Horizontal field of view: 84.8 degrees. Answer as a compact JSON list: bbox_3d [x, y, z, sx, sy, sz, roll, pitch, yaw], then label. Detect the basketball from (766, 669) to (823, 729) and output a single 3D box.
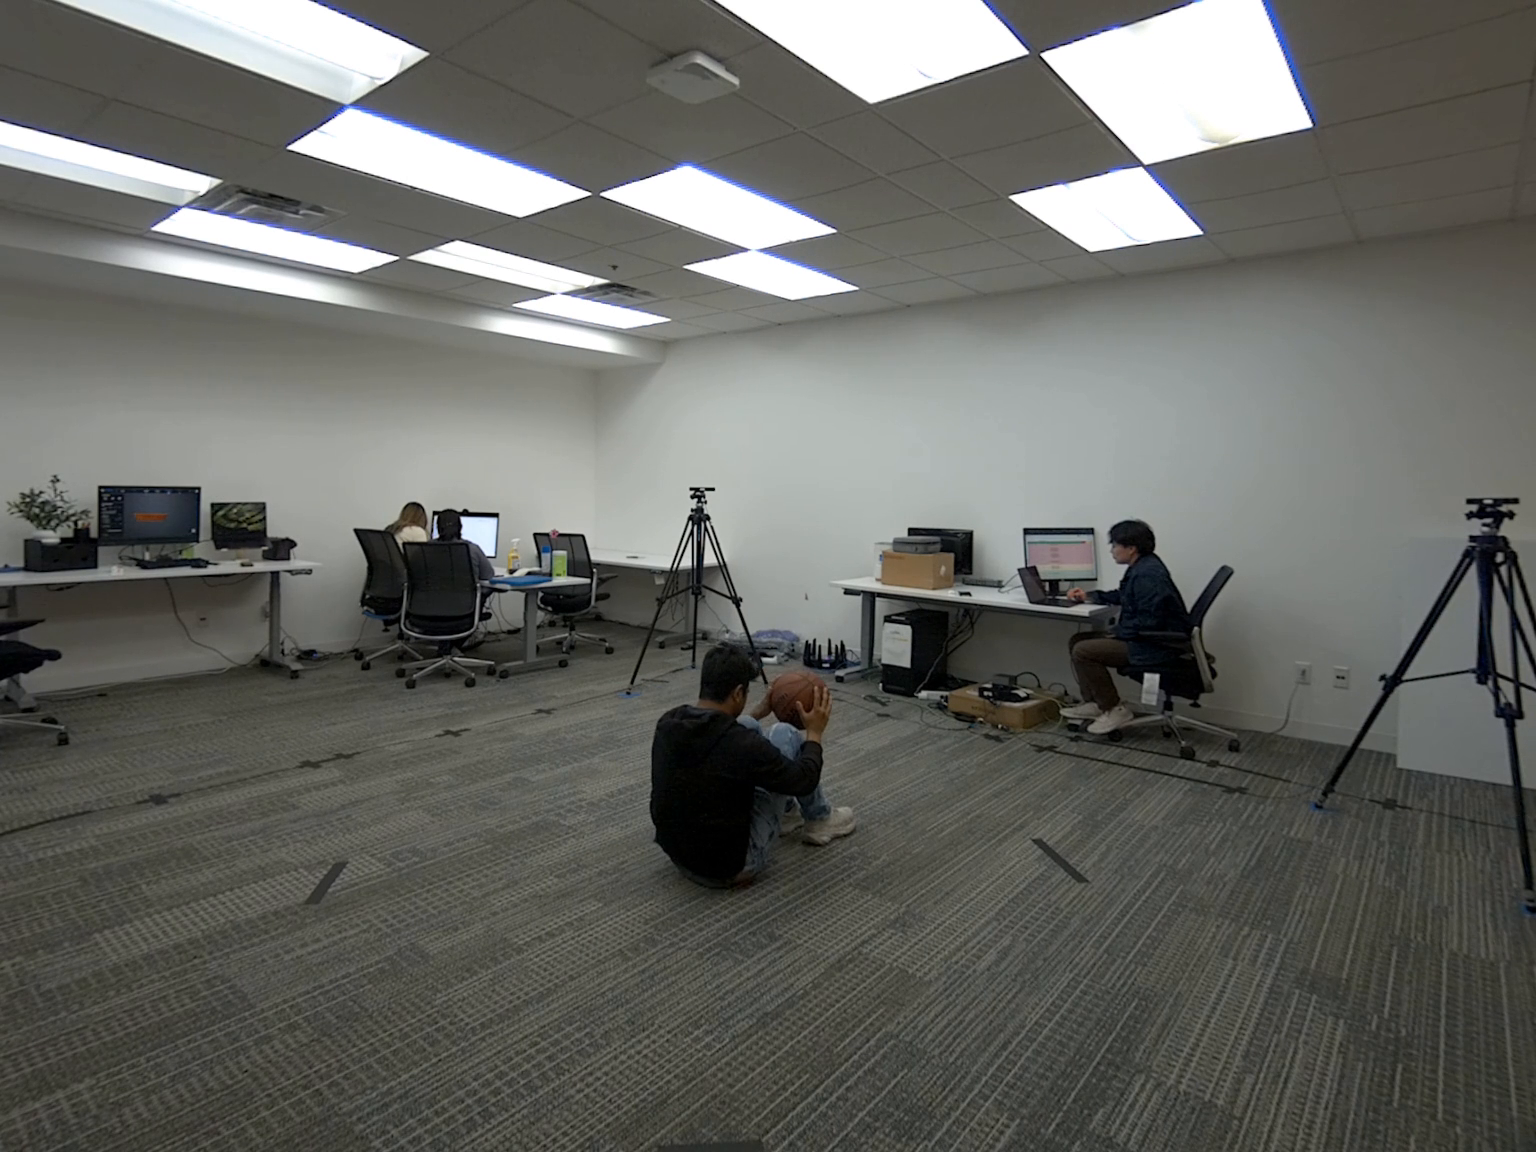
[{"bbox_3d":[0.115,0.501,3.413,0.235,0.235,0.237,1,4,-2],"label":"basketball"}]
